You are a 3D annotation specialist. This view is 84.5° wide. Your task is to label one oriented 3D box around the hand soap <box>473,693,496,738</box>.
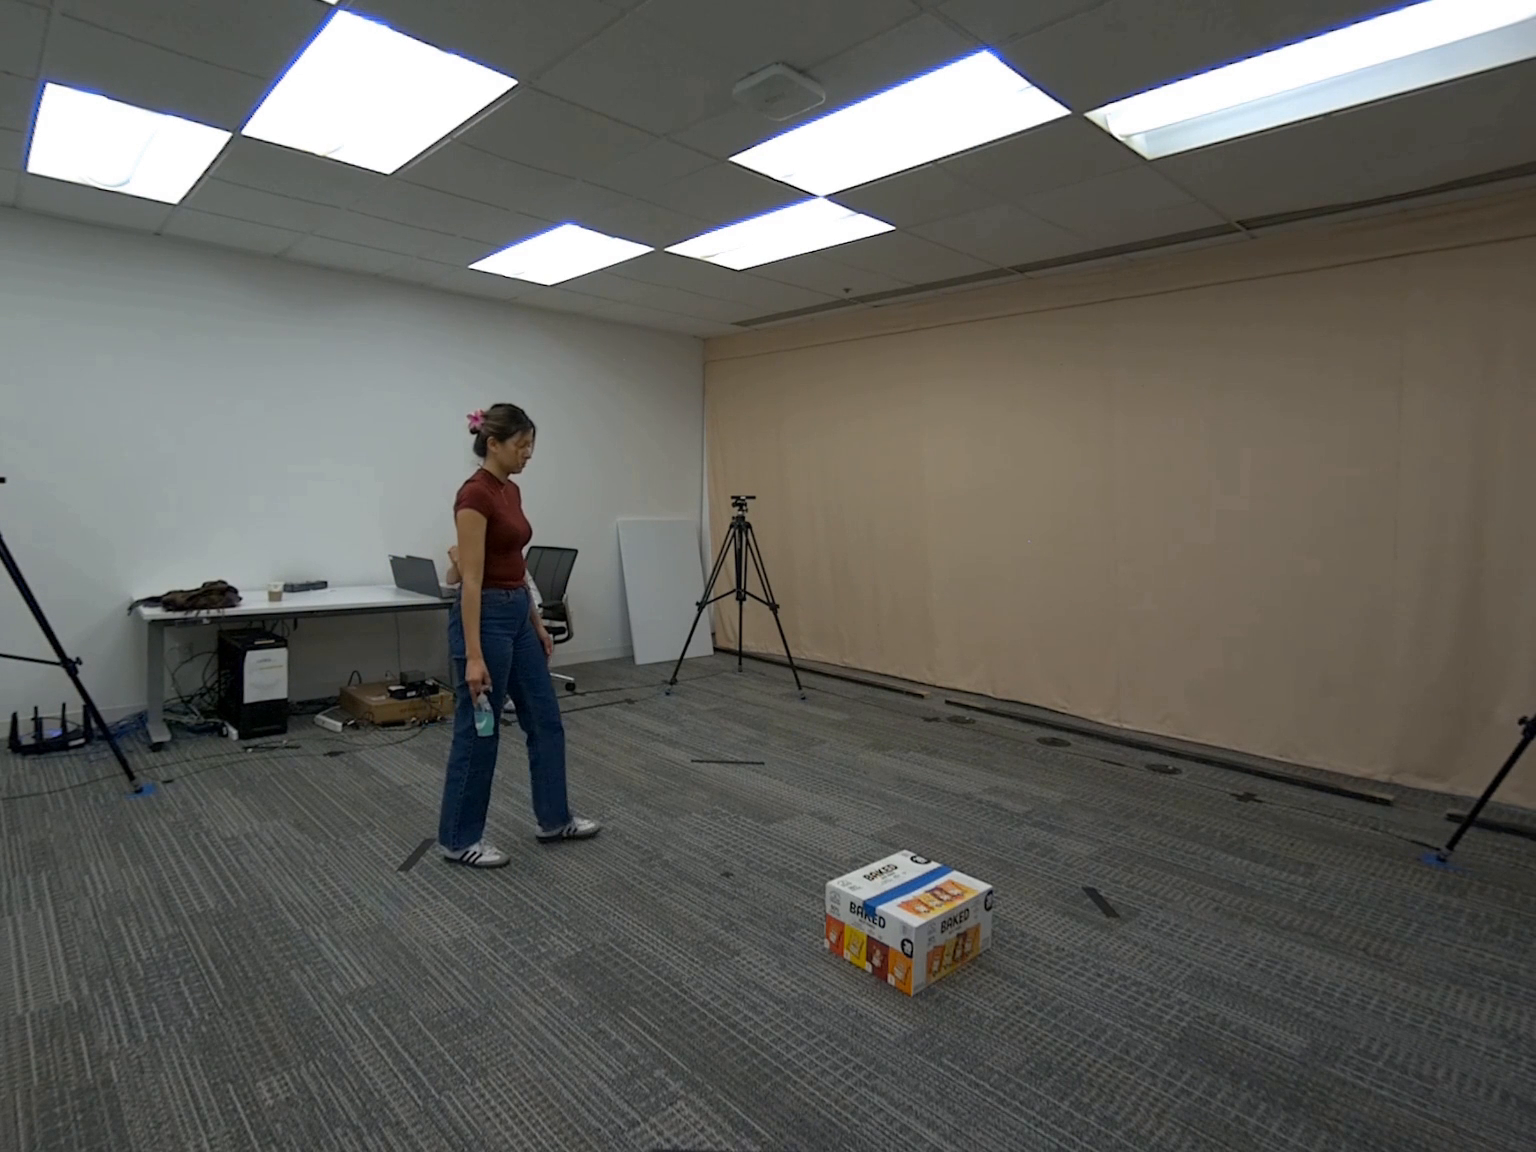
[{"bbox_3d":[-0.986,0.460,2.862,0.086,0.168,0.042,-5,-2,37],"label":"hand soap"}]
